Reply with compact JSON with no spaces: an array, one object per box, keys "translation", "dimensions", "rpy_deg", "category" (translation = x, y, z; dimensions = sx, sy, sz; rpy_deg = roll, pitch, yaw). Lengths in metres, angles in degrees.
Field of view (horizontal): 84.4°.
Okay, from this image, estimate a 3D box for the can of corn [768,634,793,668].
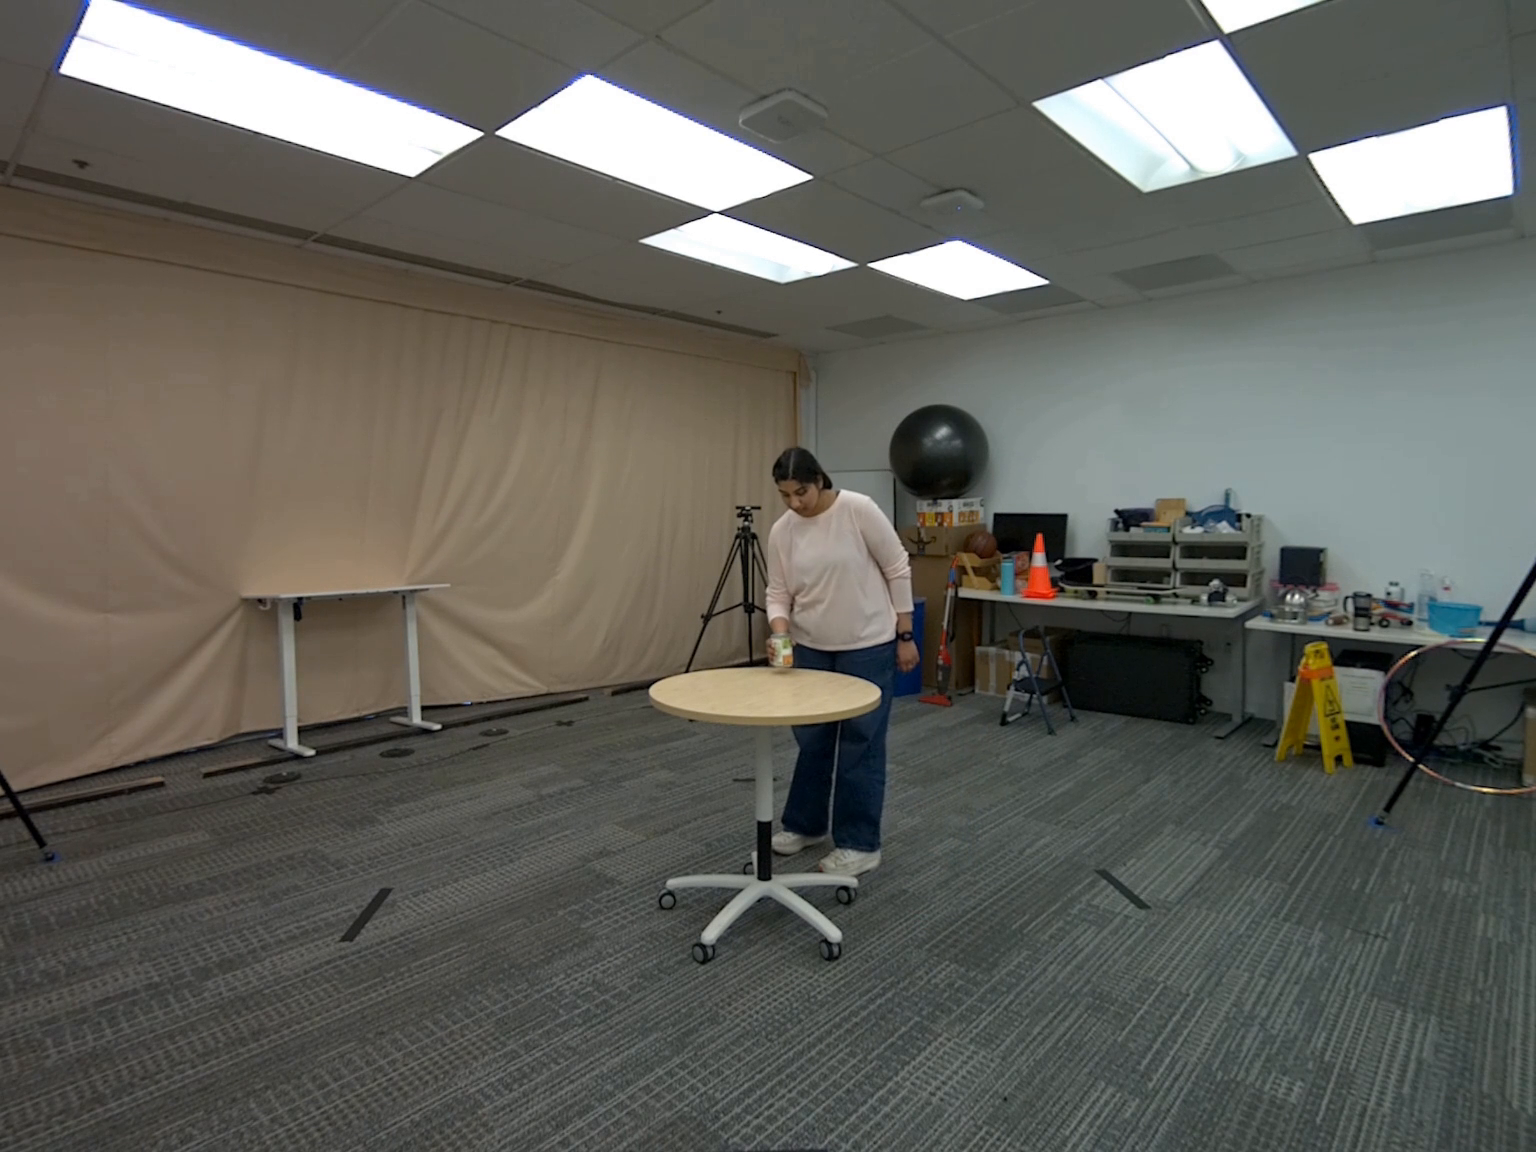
[{"translation":[0.050,0.269,3.056],"dimensions":[0.074,0.111,0.074],"rpy_deg":[-8,3,-1],"category":"can of corn"}]
